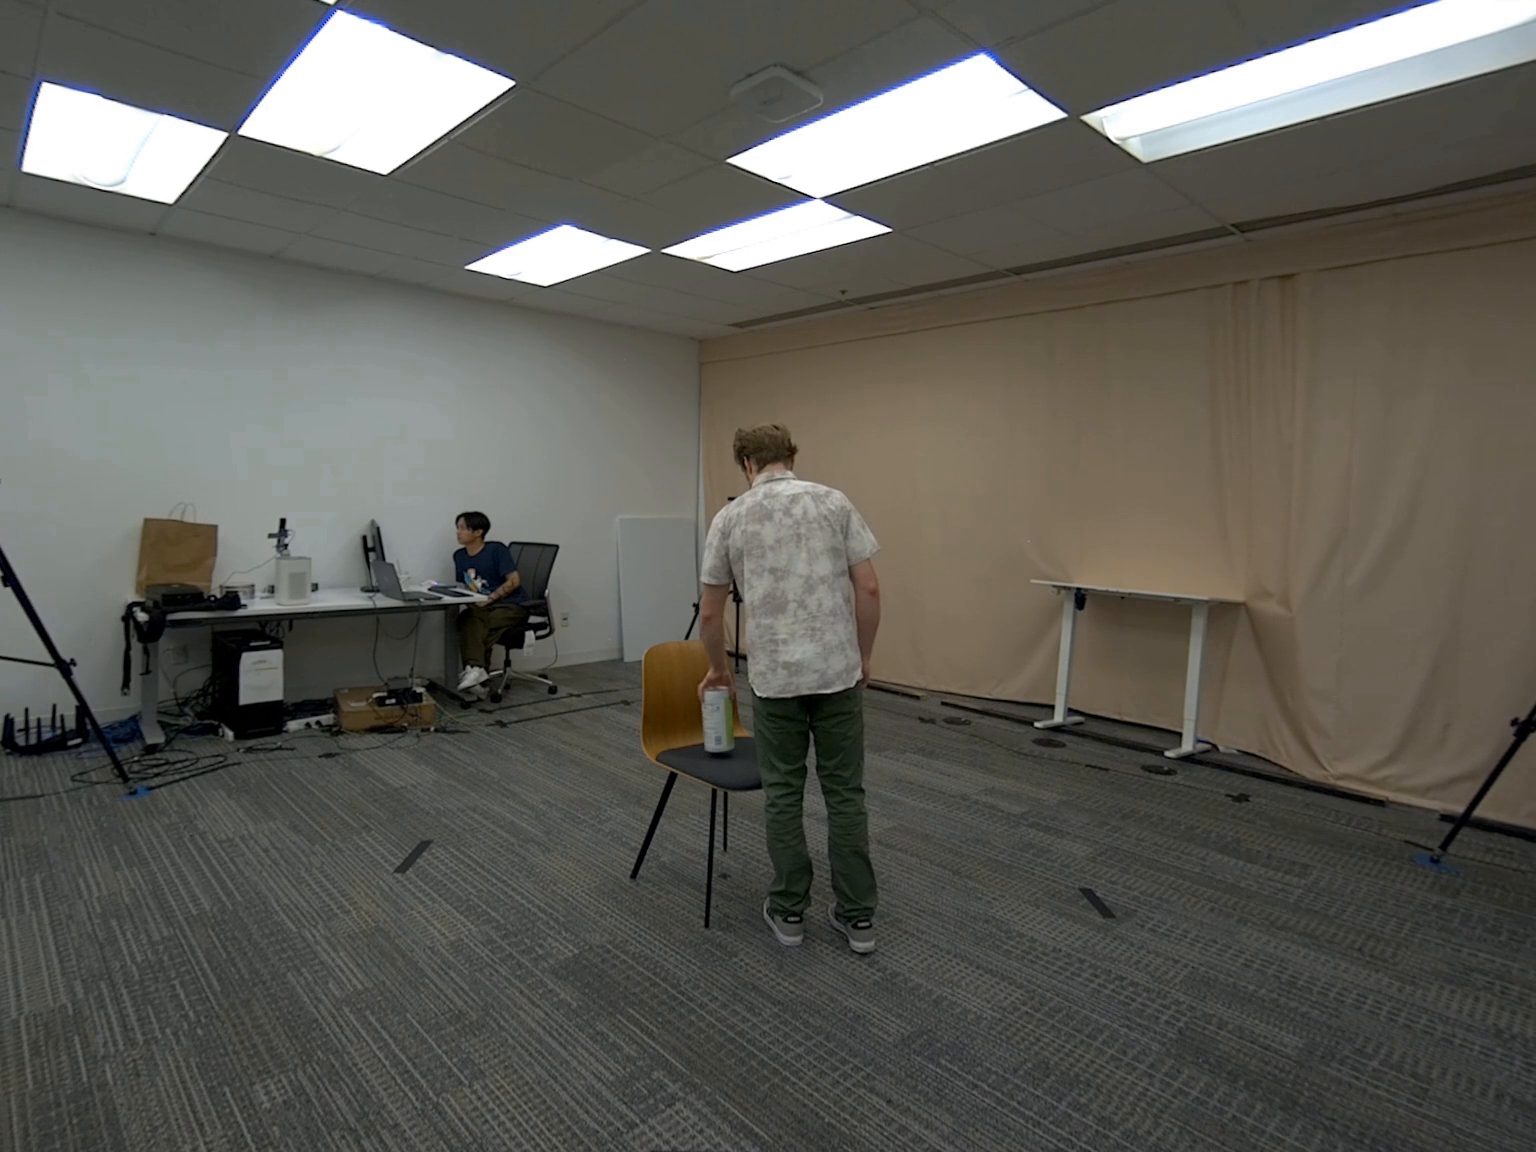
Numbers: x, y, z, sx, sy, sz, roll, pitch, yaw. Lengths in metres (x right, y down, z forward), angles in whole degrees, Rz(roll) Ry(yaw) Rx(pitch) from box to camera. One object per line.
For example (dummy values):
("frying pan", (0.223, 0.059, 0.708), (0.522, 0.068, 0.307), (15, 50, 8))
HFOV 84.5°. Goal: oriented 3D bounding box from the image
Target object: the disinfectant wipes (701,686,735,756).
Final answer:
("disinfectant wipes", (-0.195, 0.514, 2.999), (0.118, 0.217, 0.118), (-4, 1, -1))
